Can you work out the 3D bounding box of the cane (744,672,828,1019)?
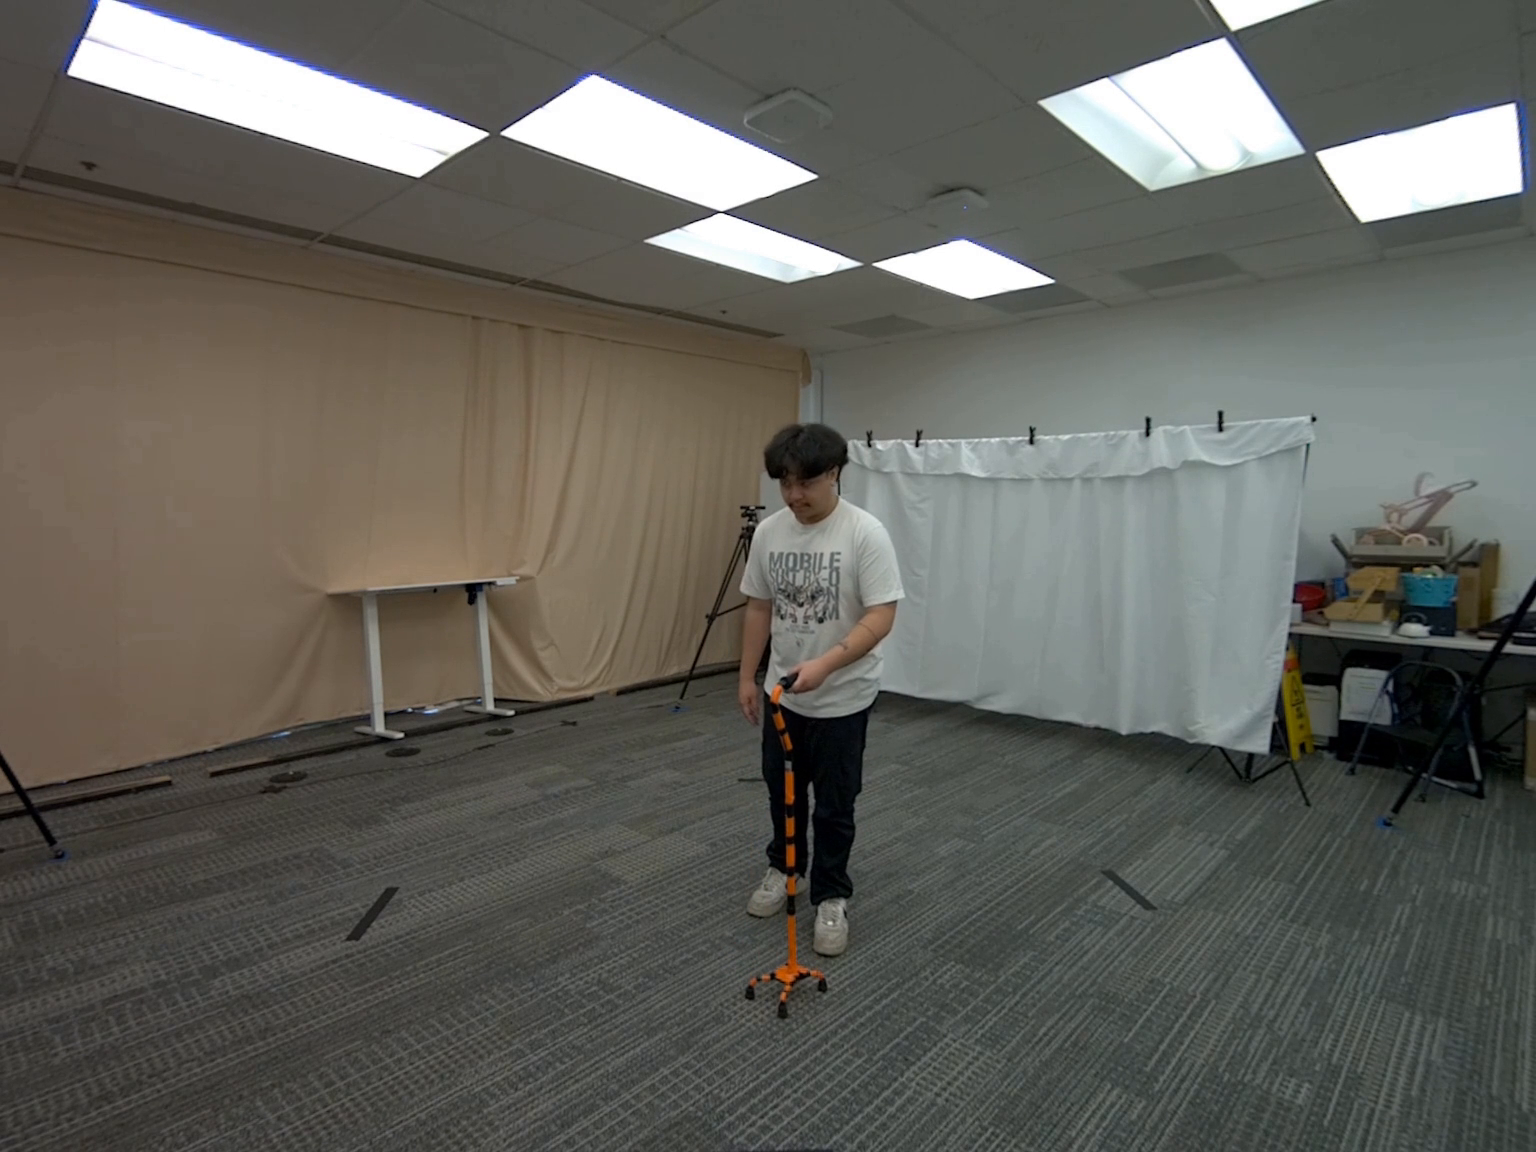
[{"bbox_3d":[0.046,0.737,2.391,0.200,0.907,0.156,-3,2,-43],"label":"cane"}]
